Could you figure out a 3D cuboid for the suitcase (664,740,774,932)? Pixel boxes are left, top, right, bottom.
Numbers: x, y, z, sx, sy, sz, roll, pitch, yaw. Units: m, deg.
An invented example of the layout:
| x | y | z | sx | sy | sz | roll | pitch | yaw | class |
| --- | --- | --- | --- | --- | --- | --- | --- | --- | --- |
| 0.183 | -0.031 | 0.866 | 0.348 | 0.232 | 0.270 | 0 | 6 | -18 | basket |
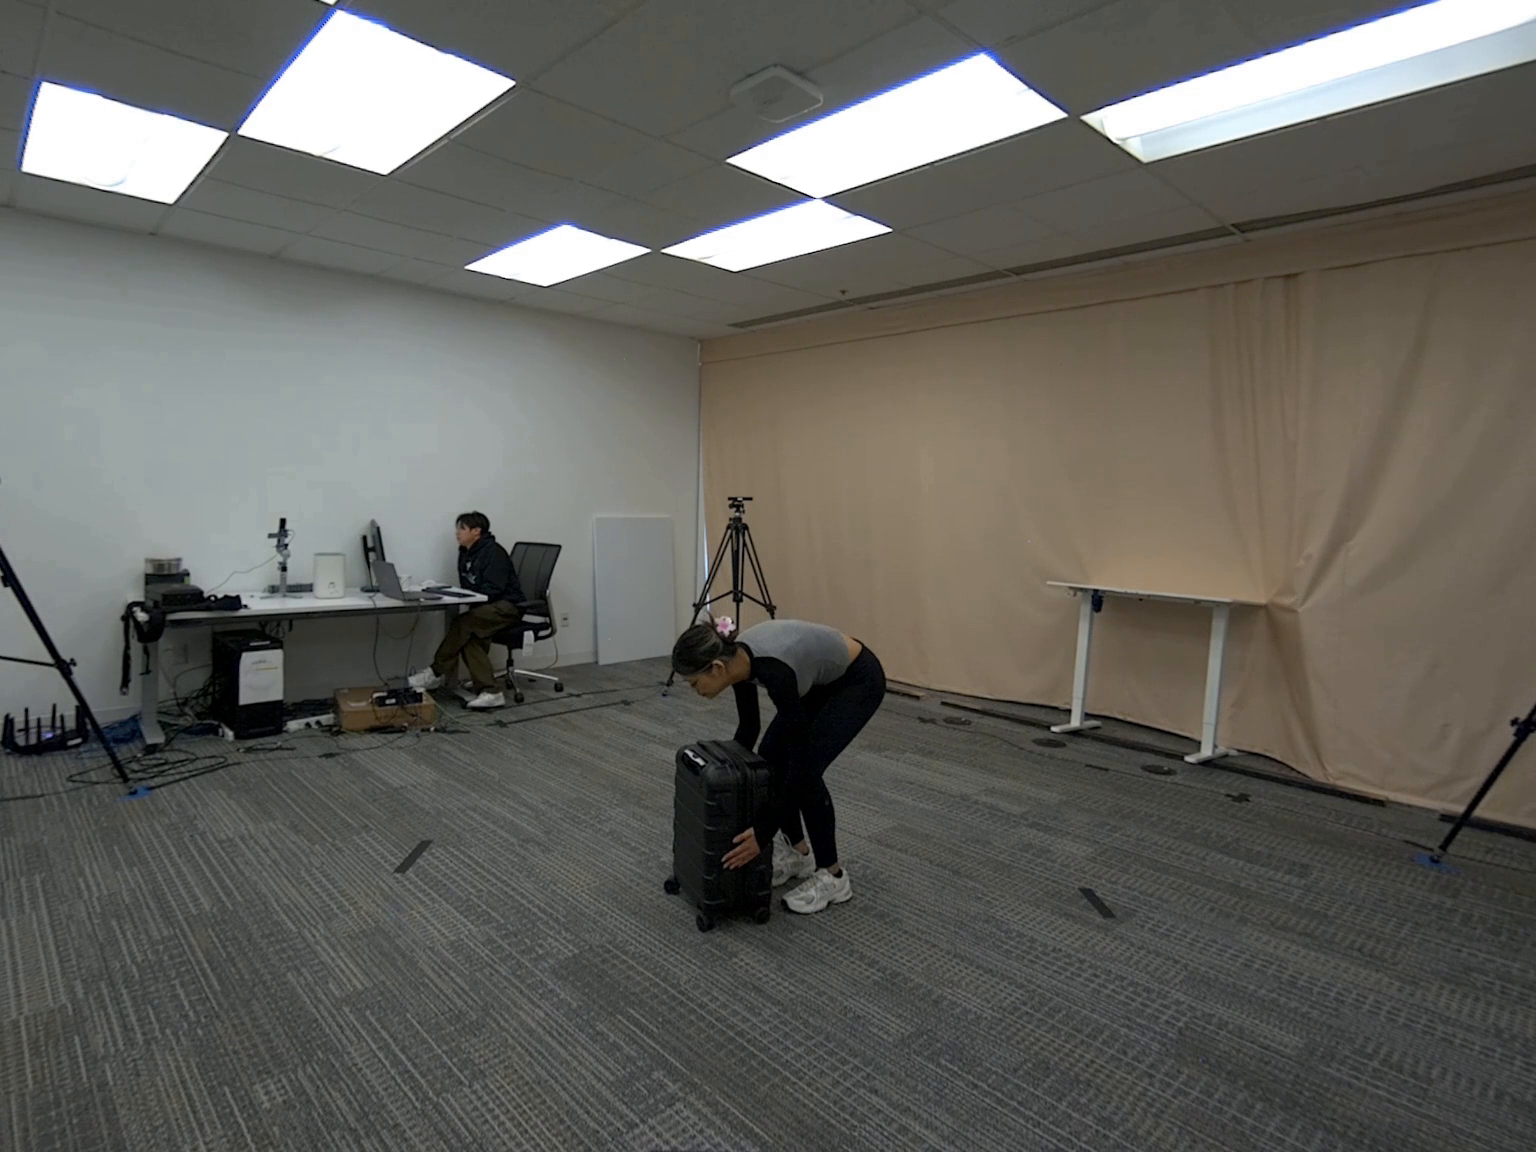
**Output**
| x | y | z | sx | sy | sz | roll | pitch | yaw | class |
| --- | --- | --- | --- | --- | --- | --- | --- | --- | --- |
| -0.162 | 0.852 | 2.859 | 0.244 | 0.548 | 0.383 | 1 | 4 | -25 | suitcase |
